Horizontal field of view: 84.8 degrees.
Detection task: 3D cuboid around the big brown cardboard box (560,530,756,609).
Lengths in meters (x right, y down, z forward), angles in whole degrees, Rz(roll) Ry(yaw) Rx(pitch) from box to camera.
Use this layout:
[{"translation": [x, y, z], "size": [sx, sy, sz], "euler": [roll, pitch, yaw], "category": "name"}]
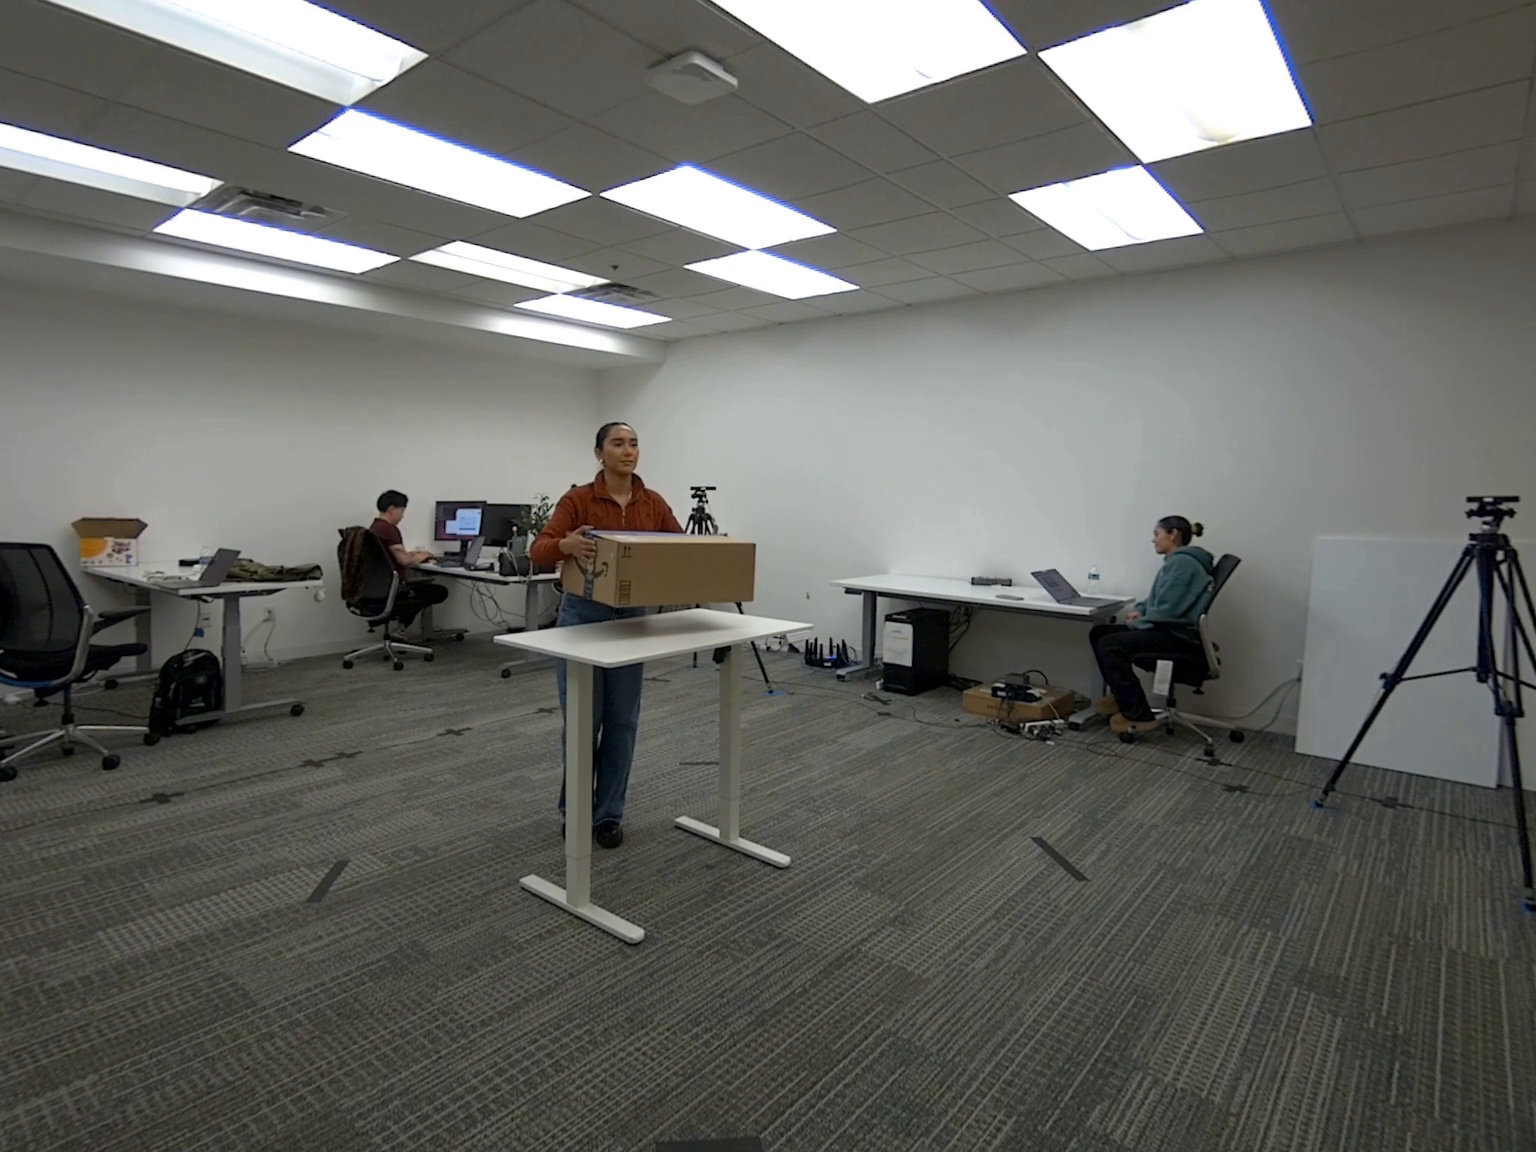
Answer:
[{"translation": [-0.407, -0.038, 3.070], "size": [0.571, 0.232, 0.432], "euler": [0, 6, -36], "category": "big brown cardboard box"}]
